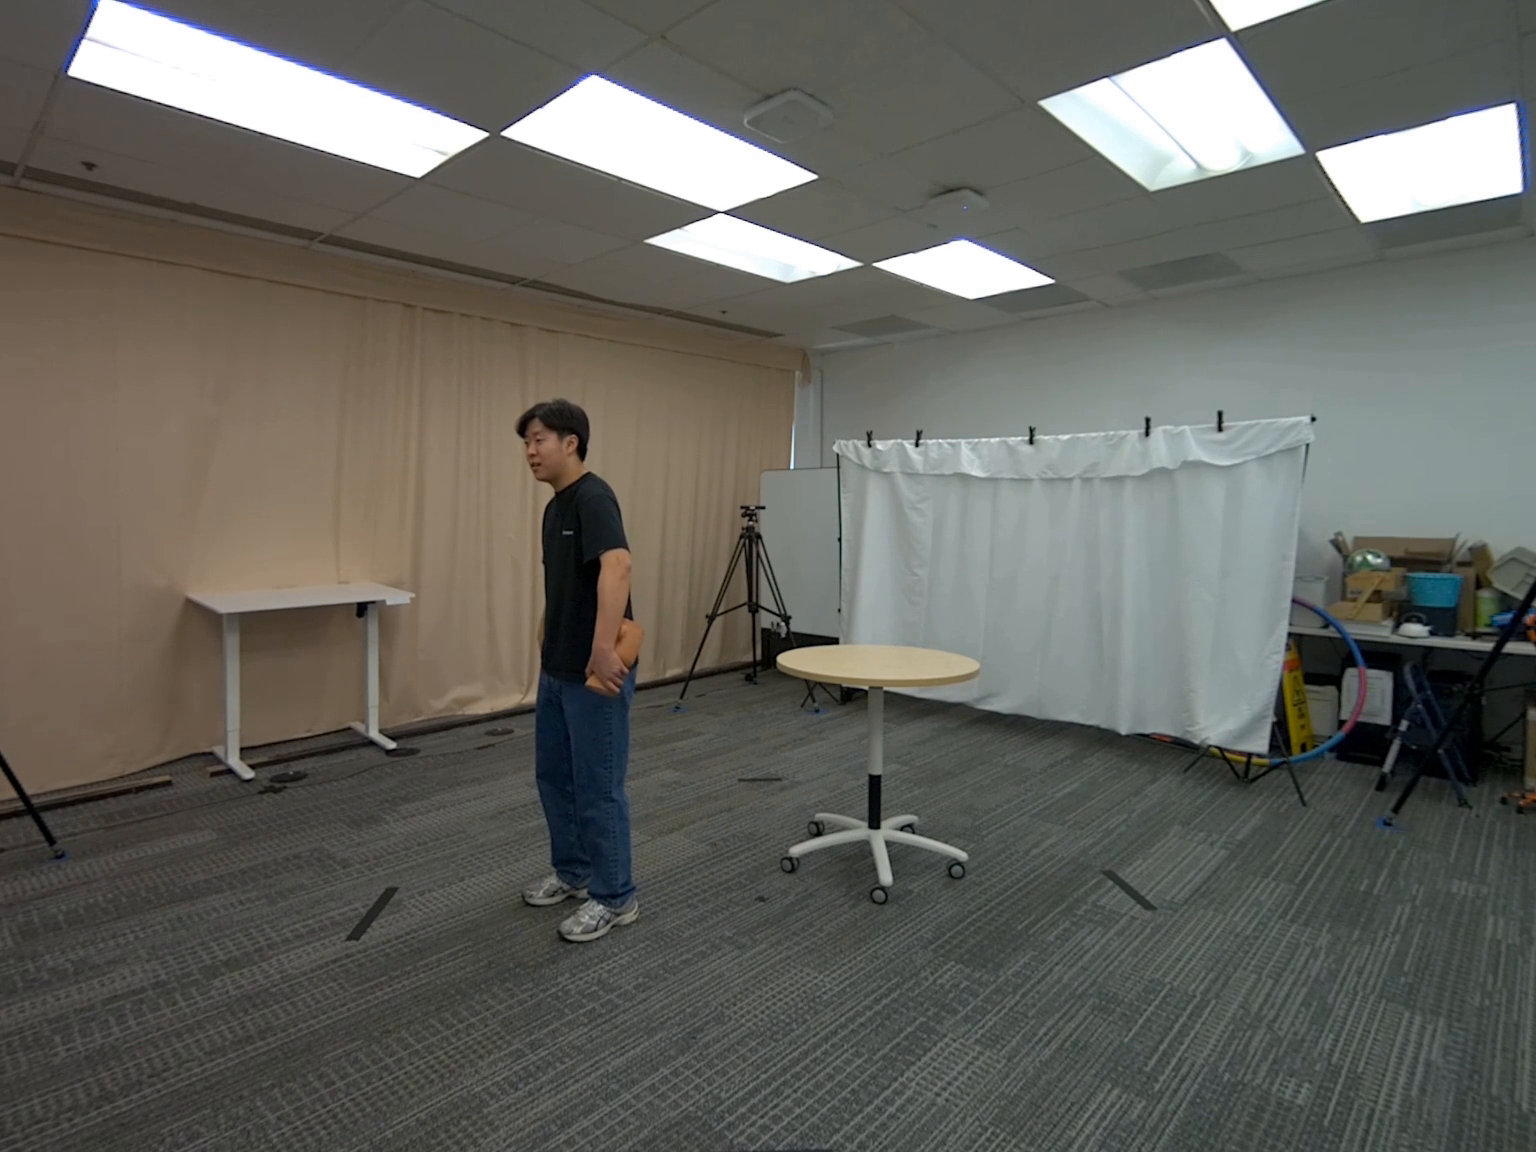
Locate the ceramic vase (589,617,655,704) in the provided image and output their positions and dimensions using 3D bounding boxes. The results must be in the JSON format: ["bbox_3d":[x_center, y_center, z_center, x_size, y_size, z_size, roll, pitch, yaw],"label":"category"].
[{"bbox_3d":[-0.471,0.246,2.540,0.139,0.221,0.153,7,-23,29],"label":"ceramic vase"}]
